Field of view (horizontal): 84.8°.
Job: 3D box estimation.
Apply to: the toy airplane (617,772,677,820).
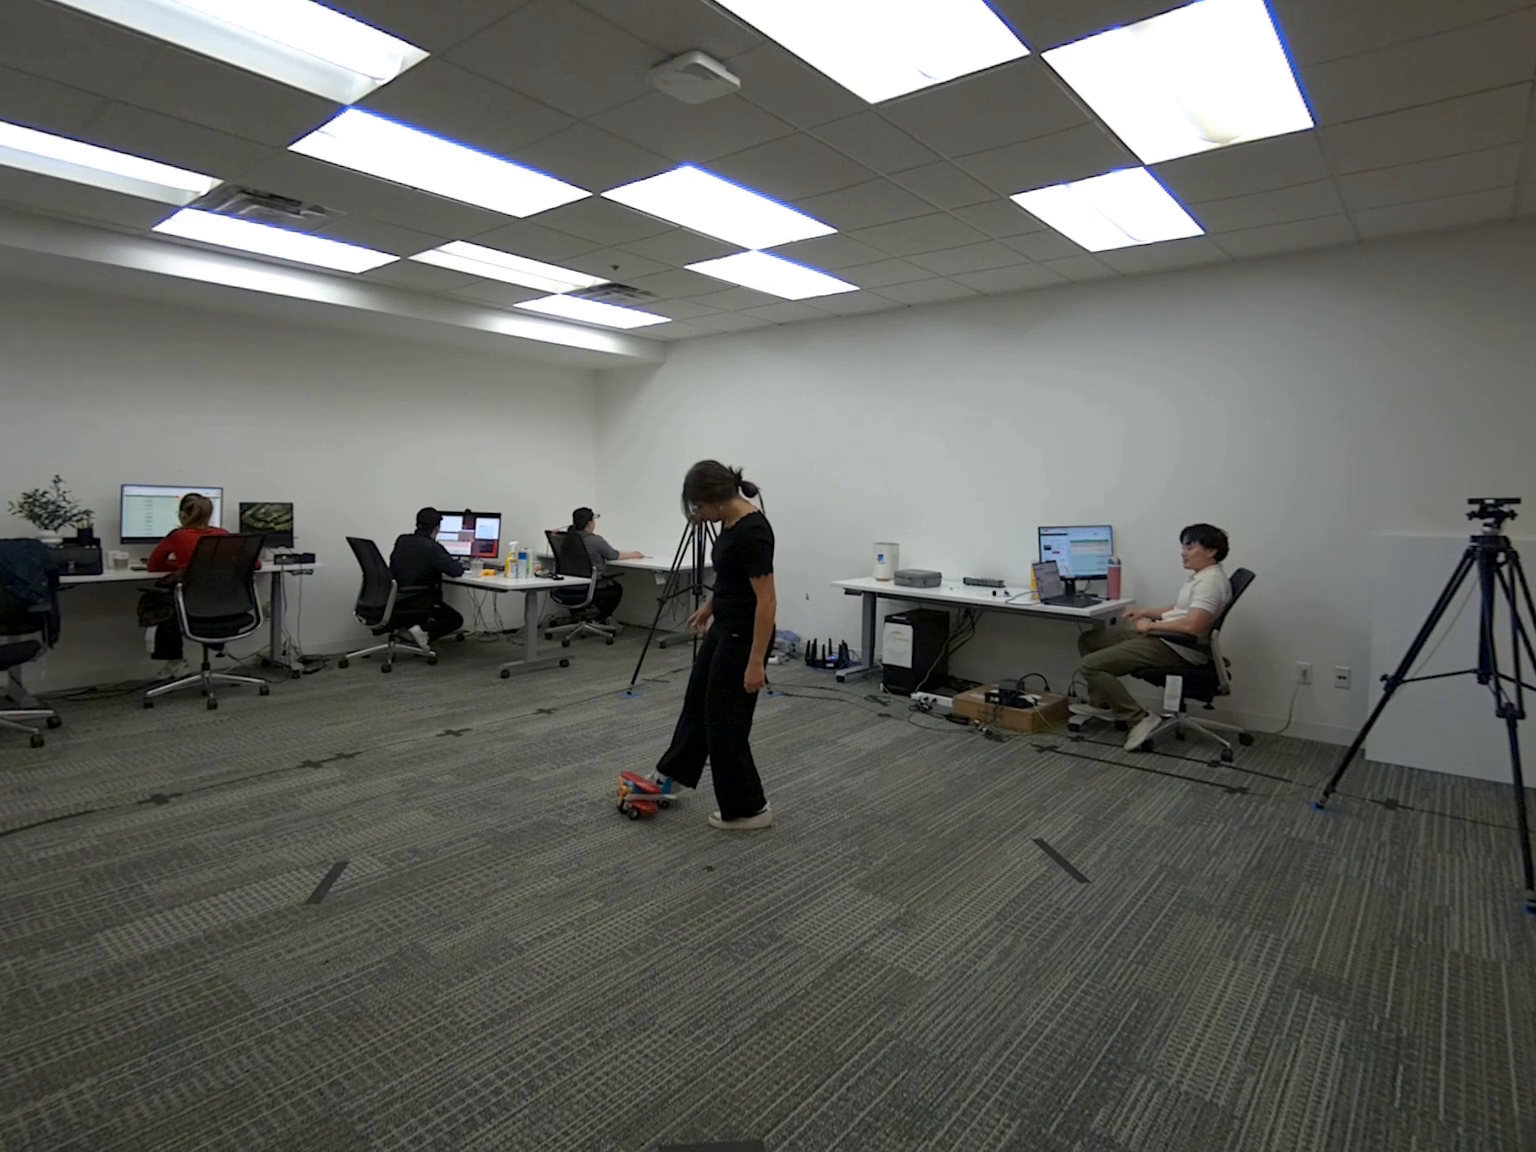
[{"bbox_3d":[-0.552,0.934,3.658,0.257,0.155,0.254,4,7,24],"label":"toy airplane"}]
